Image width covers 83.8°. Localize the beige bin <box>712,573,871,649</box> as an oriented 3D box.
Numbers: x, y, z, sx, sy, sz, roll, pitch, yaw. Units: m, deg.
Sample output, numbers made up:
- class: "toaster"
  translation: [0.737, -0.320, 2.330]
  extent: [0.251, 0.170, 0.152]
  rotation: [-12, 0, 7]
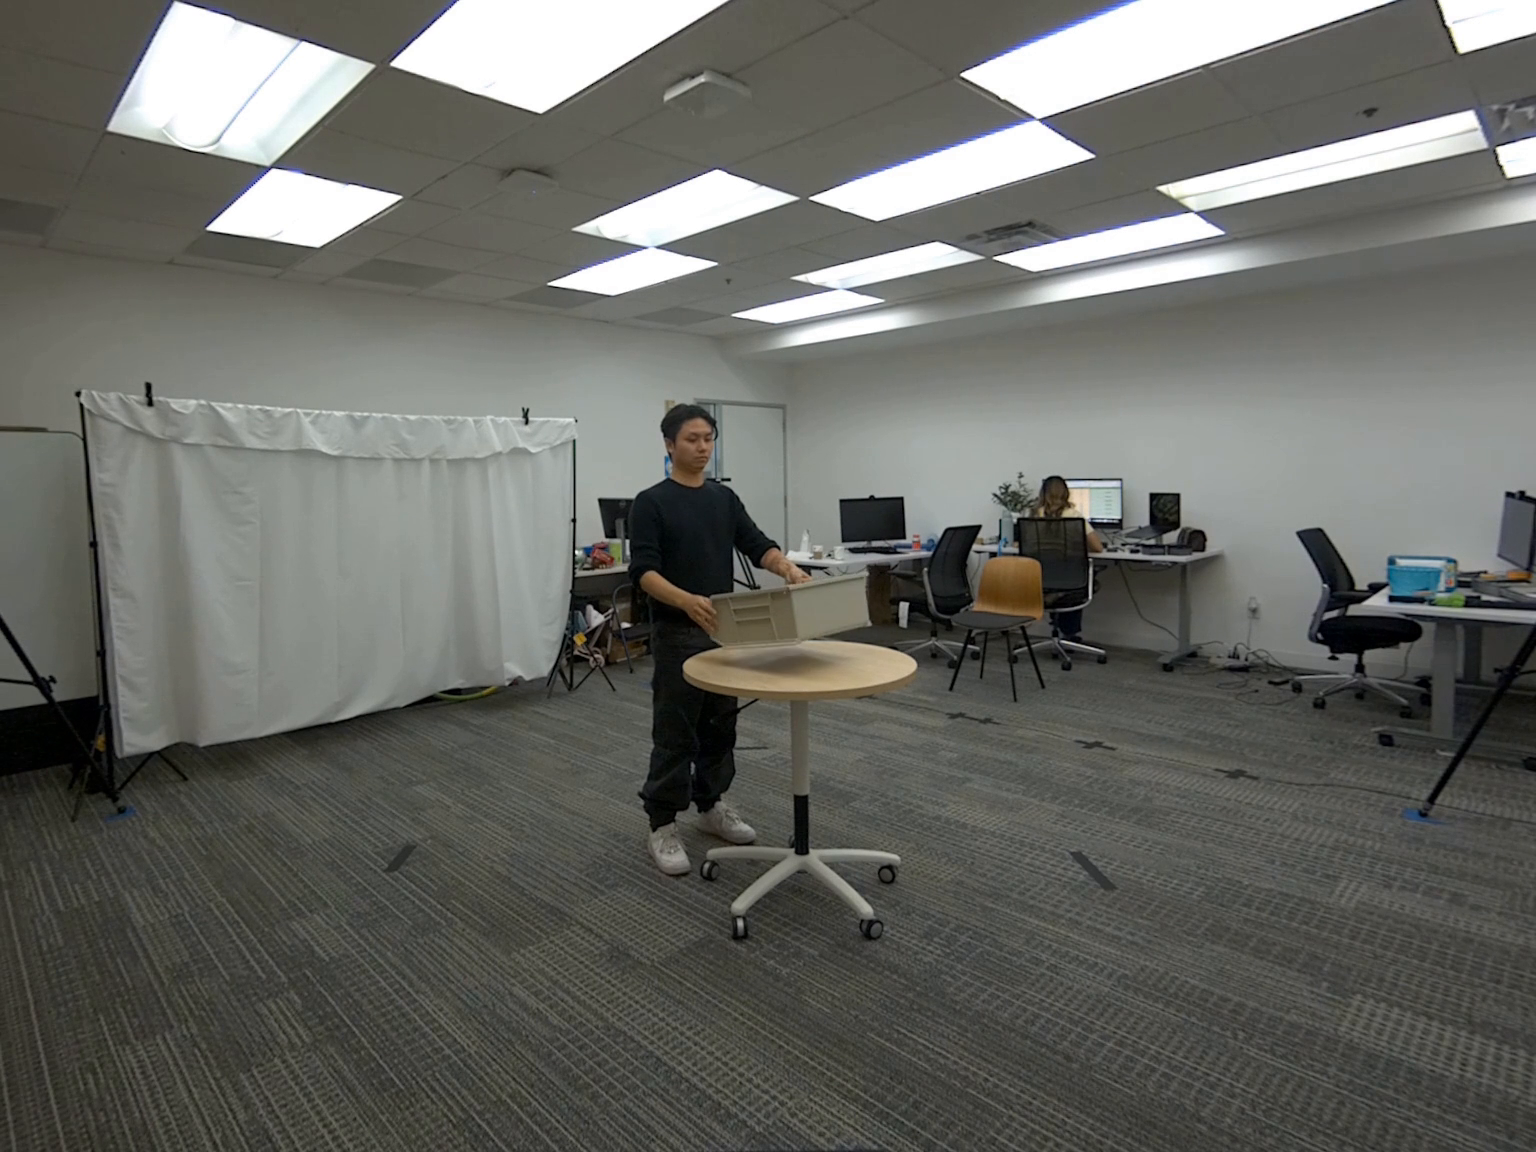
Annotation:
- class: "beige bin"
  translation: [0.069, 0.116, 2.840]
  extent: [0.387, 0.189, 0.411]
  rotation: [-6, 1, 44]
